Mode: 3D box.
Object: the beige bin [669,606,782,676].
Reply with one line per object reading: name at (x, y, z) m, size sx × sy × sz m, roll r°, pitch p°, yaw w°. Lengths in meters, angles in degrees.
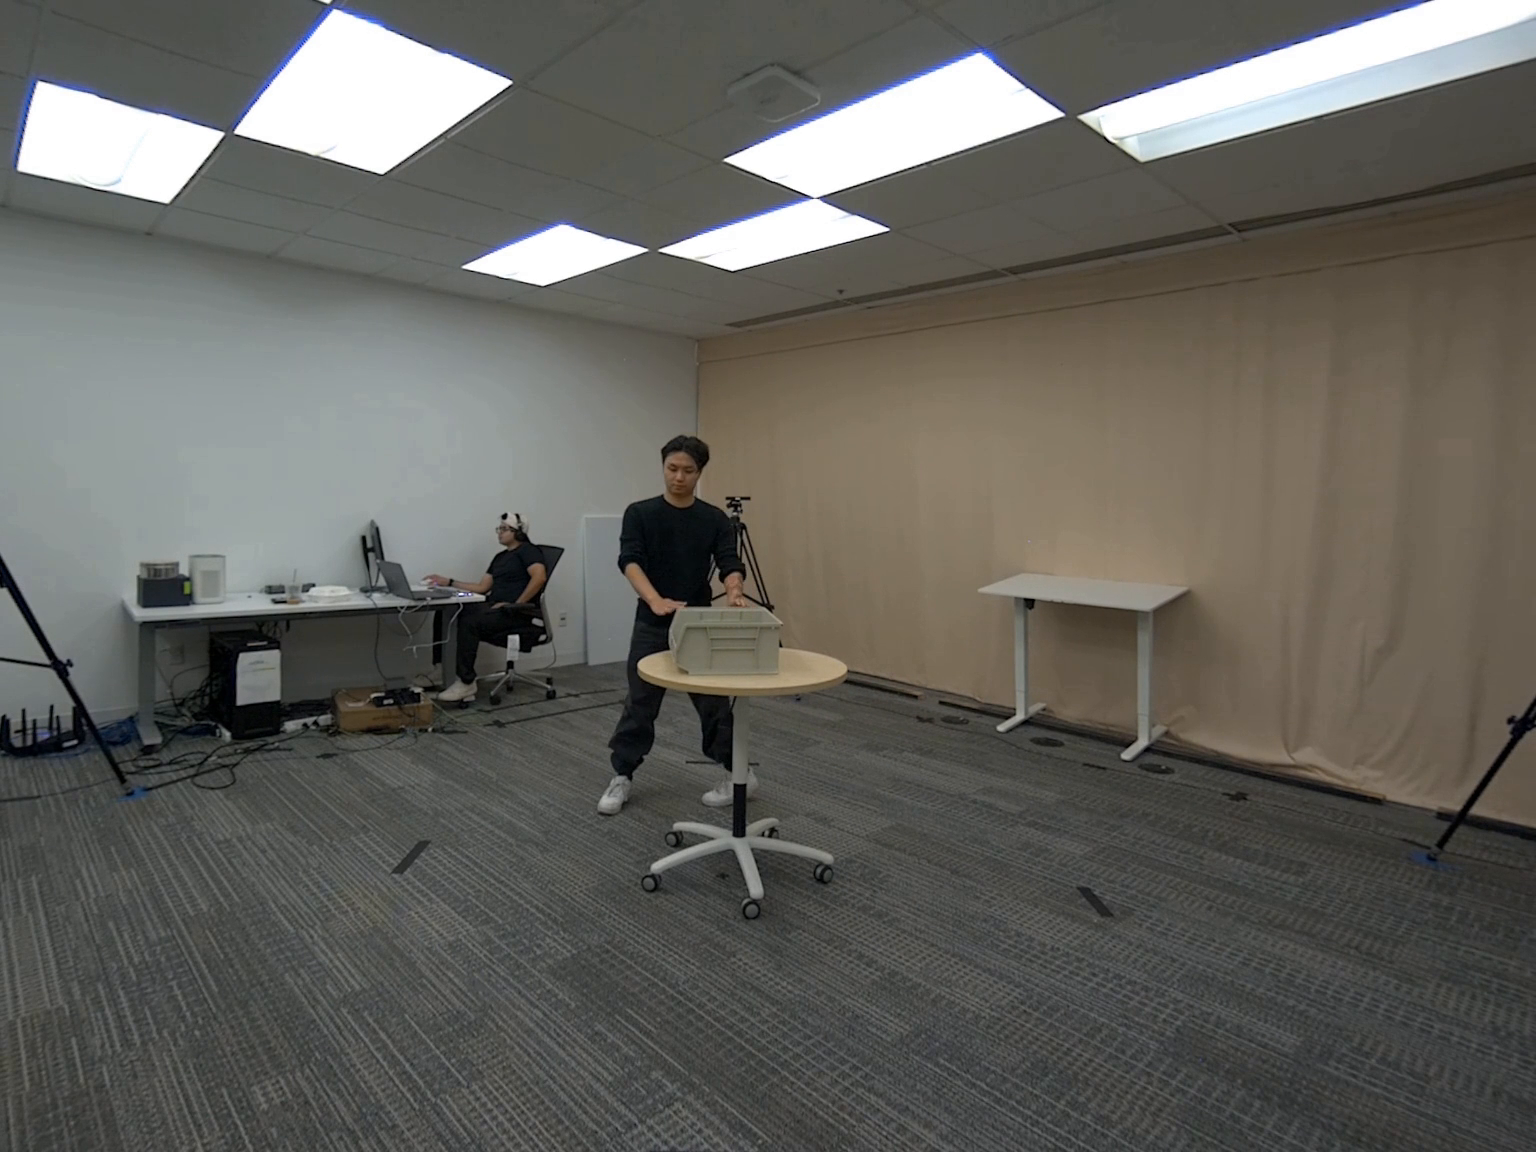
beige bin at (-0.177, 0.234, 3.105) m, size 0.375 × 0.188 × 0.426 m, roll 0°, pitch 4°, yaw -8°
